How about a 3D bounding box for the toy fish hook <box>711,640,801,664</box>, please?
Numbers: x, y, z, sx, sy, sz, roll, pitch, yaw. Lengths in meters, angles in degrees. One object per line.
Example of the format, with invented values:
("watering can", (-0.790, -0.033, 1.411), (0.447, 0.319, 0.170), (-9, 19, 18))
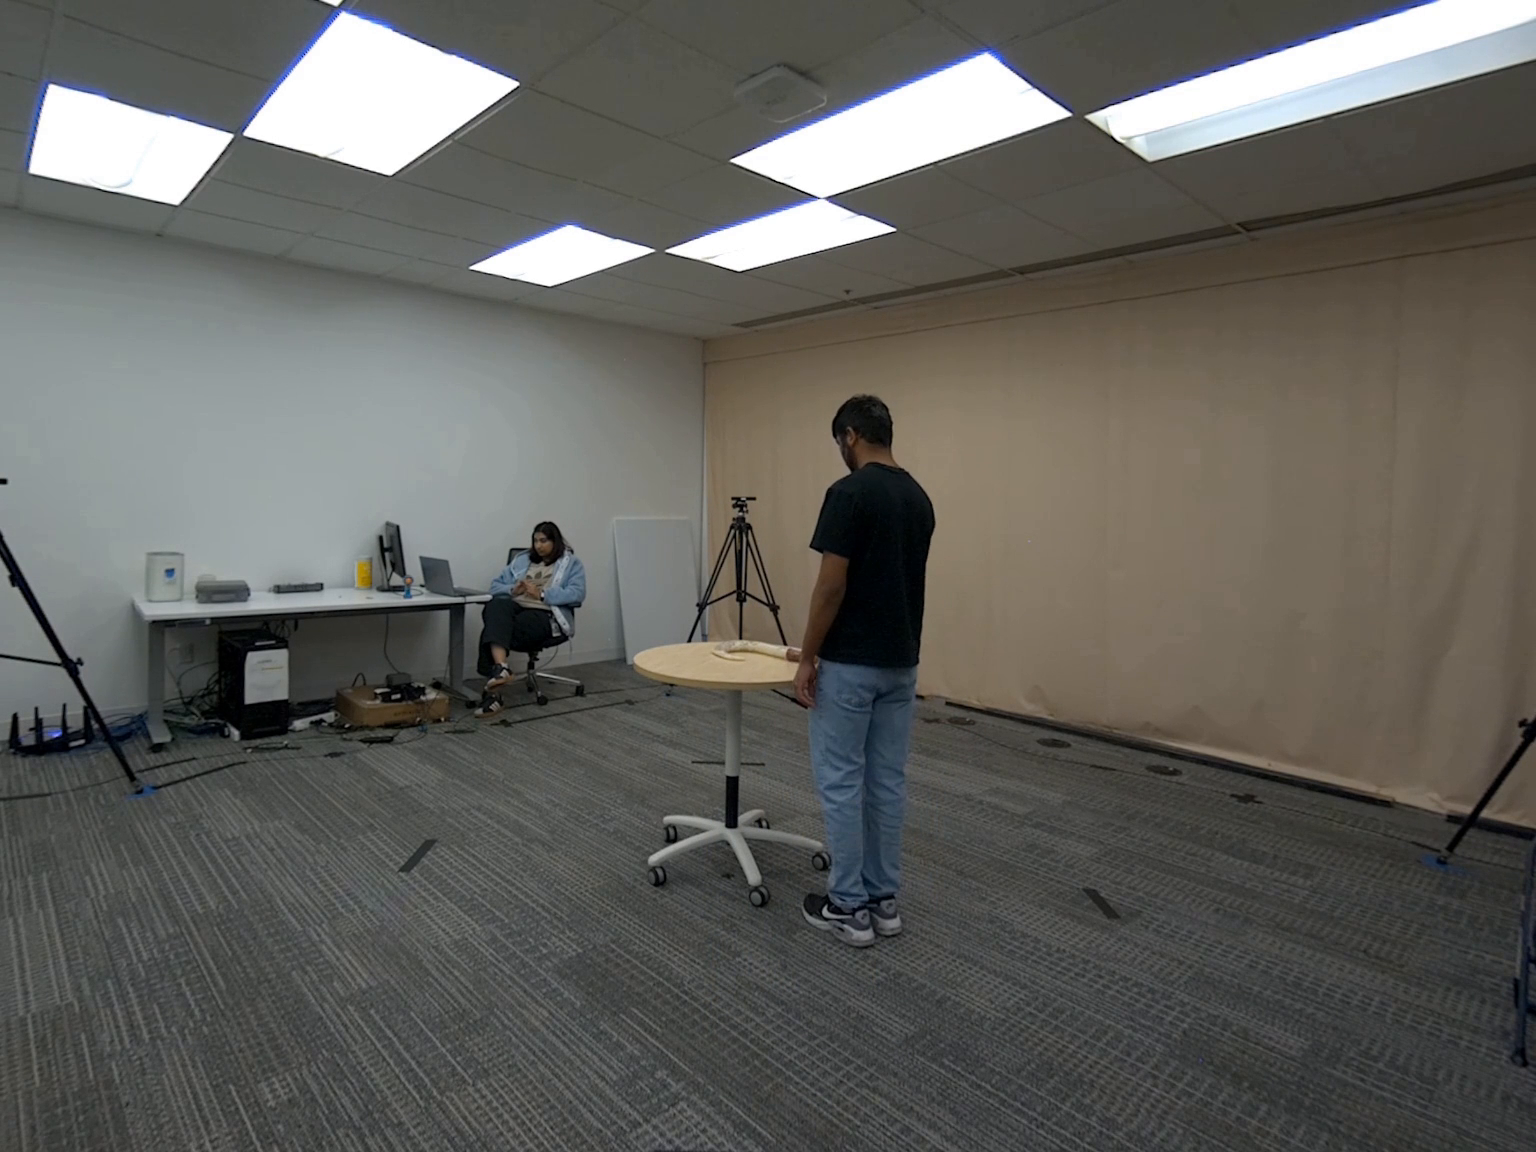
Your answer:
("toy fish hook", (0.005, 0.306, 3.197), (0.519, 0.048, 0.221), (5, 12, 36))
